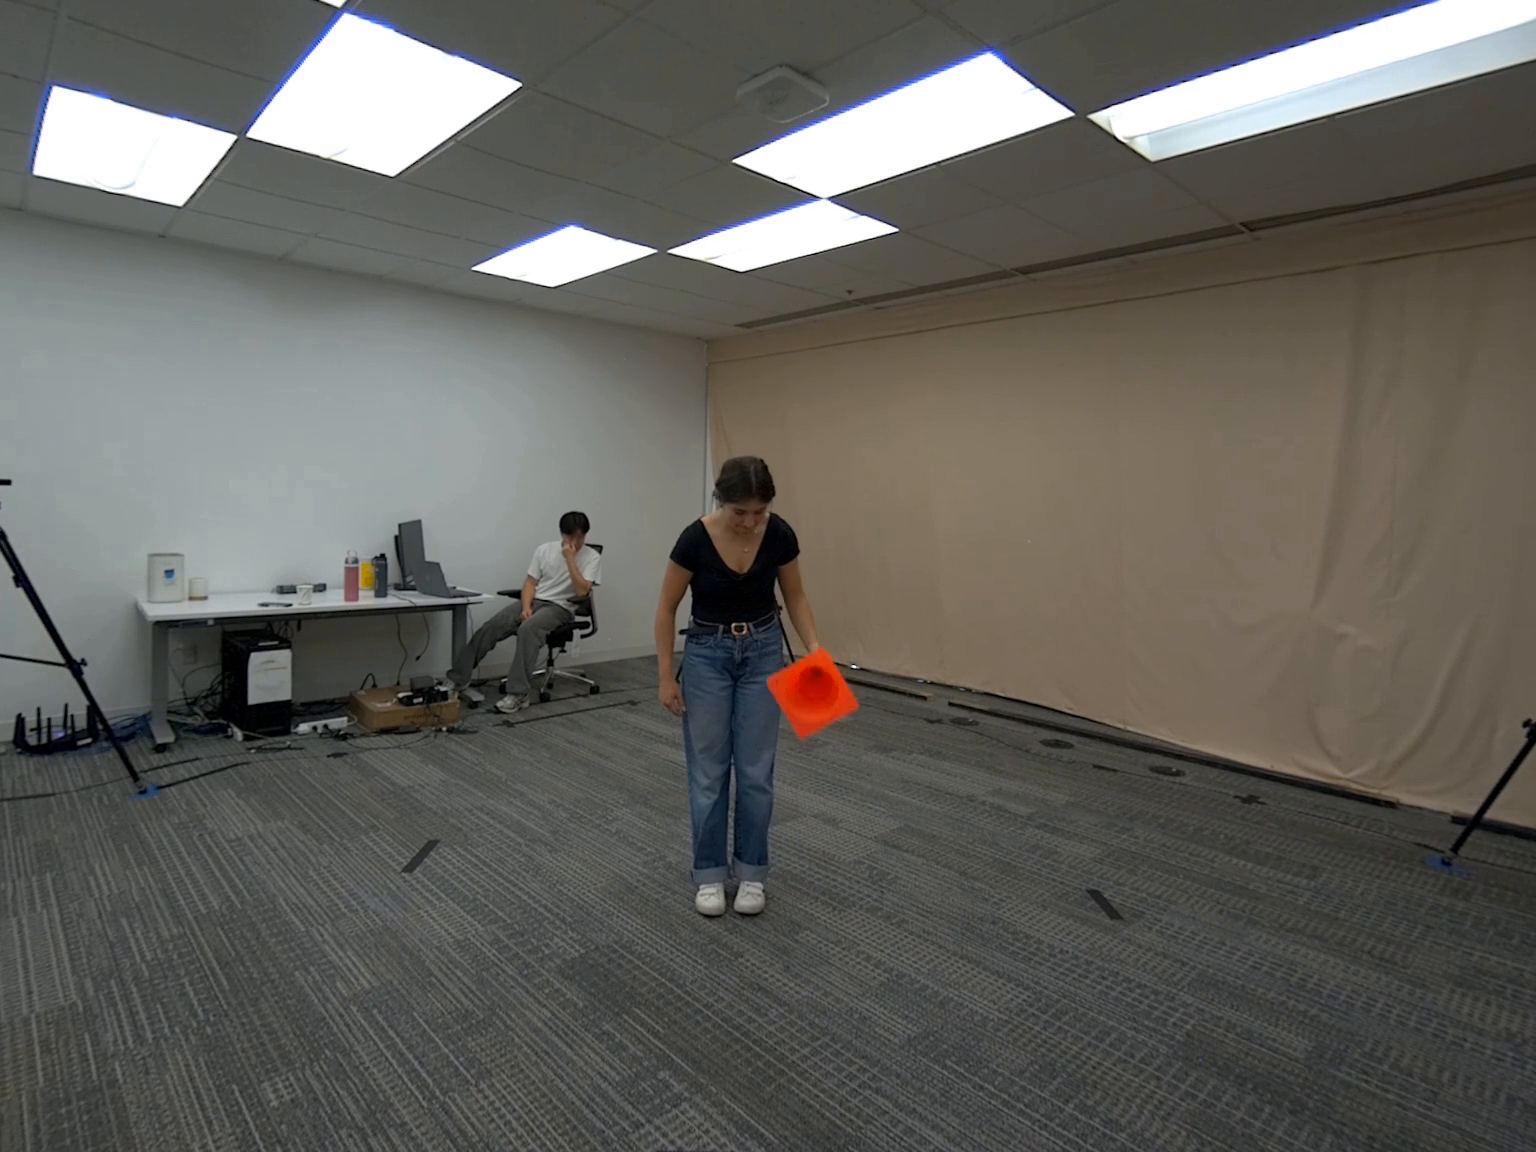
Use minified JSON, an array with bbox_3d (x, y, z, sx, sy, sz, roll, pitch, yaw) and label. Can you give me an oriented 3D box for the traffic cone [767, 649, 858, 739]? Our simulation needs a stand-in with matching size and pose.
[{"bbox_3d":[0.137,0.347,2.610,0.203,0.206,0.381,-33,-4,4],"label":"traffic cone"}]
